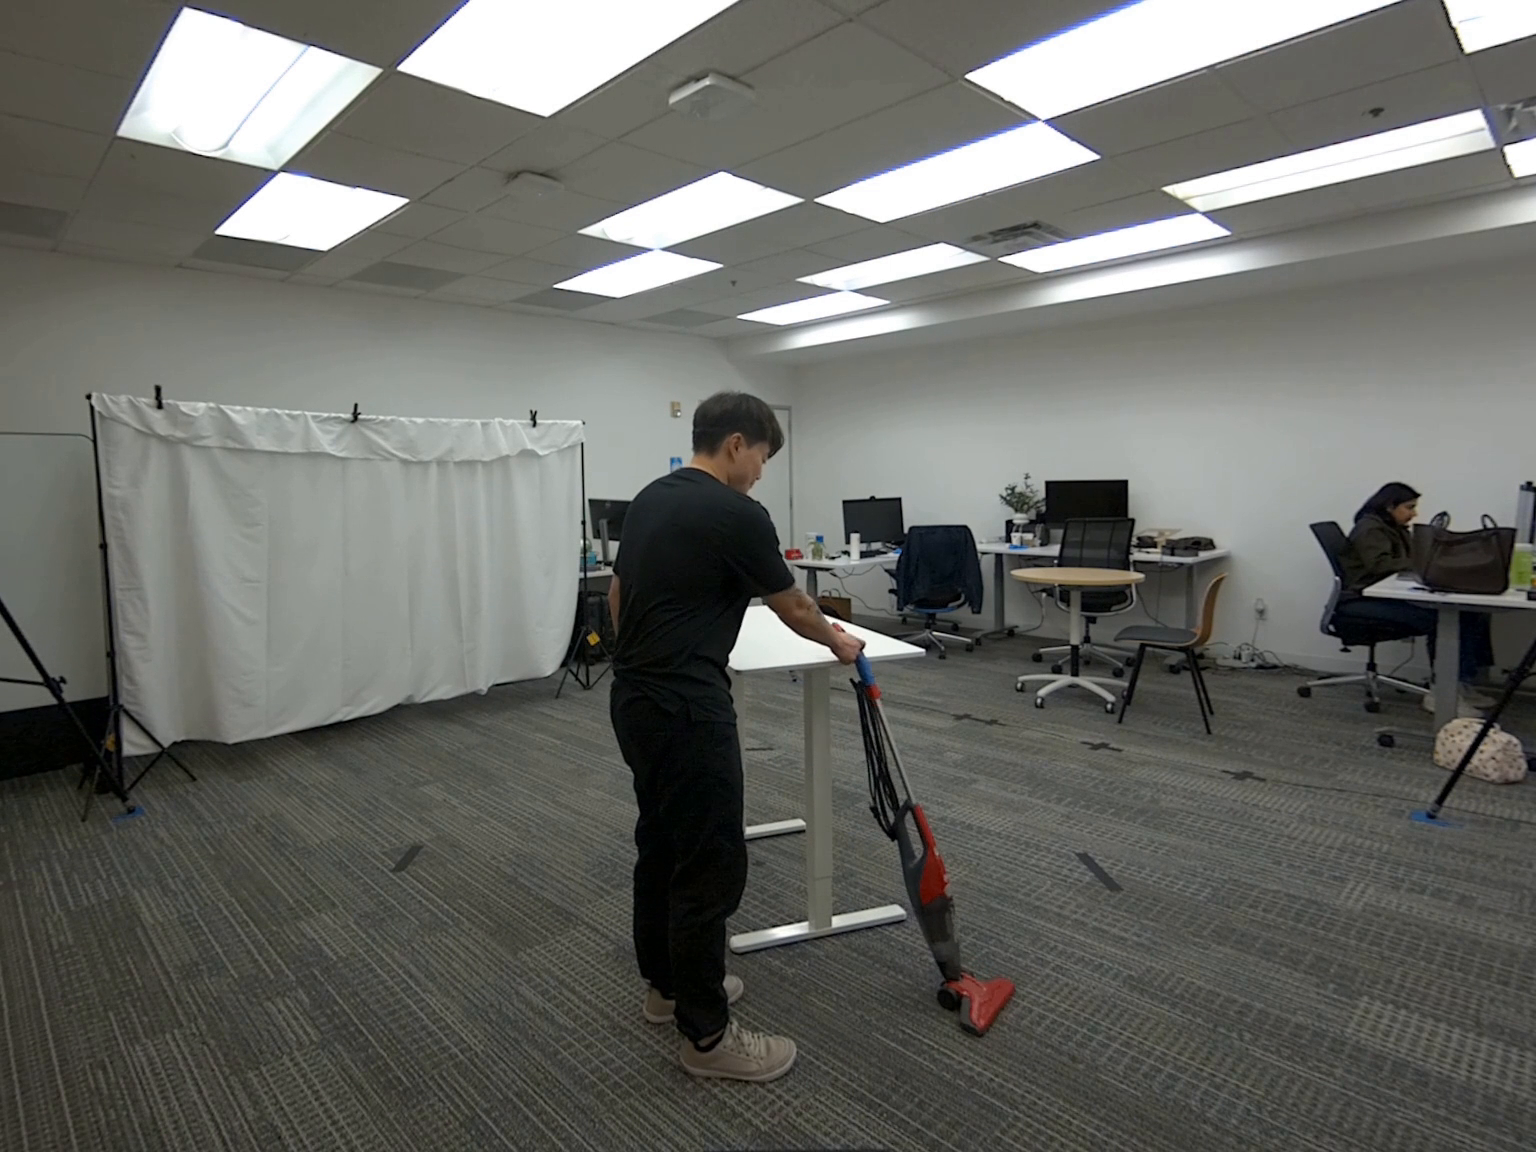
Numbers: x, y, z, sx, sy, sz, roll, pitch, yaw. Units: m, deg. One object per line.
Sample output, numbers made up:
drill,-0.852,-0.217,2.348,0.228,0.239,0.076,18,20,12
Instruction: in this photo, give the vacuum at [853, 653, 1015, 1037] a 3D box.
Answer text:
vacuum,0.380,0.646,2.365,0.146,1.064,0.246,-27,-14,34
